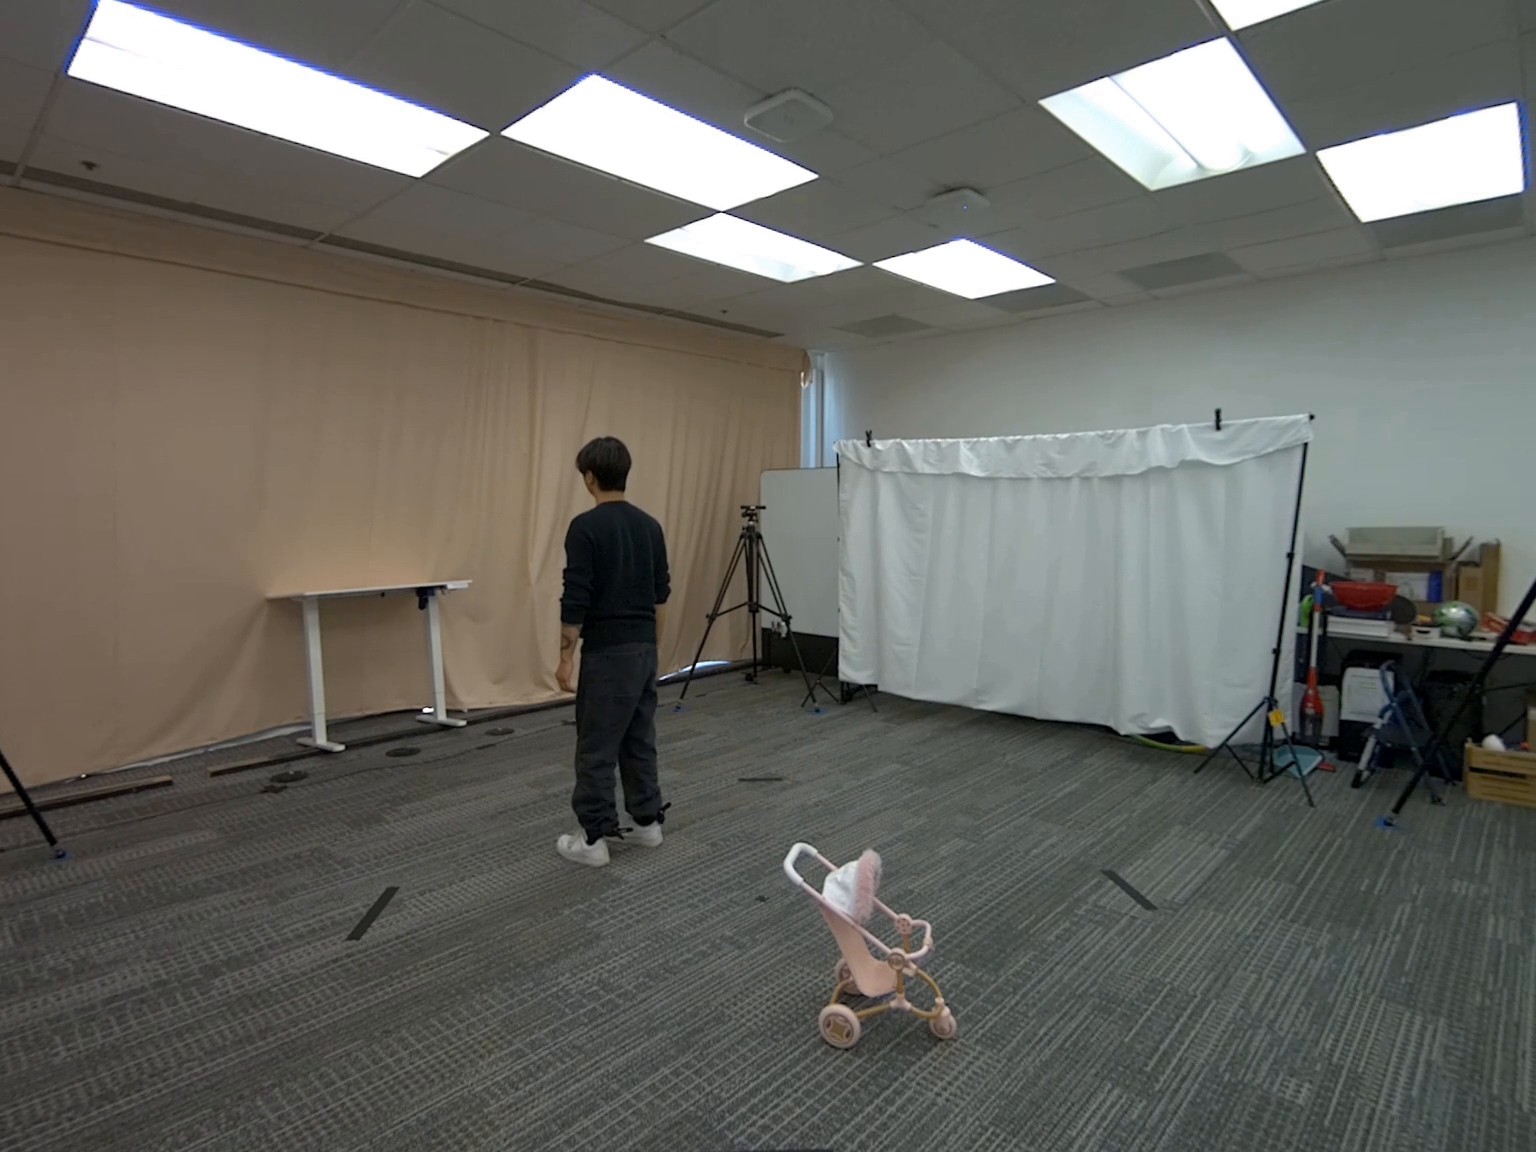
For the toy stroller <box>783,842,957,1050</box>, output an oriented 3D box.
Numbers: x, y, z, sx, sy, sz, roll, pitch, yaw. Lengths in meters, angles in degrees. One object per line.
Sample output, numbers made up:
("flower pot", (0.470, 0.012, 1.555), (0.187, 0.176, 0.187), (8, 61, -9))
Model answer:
("toy stroller", (0.284, 0.979, 2.248), (0.347, 0.536, 0.276), (-15, -2, 22))
